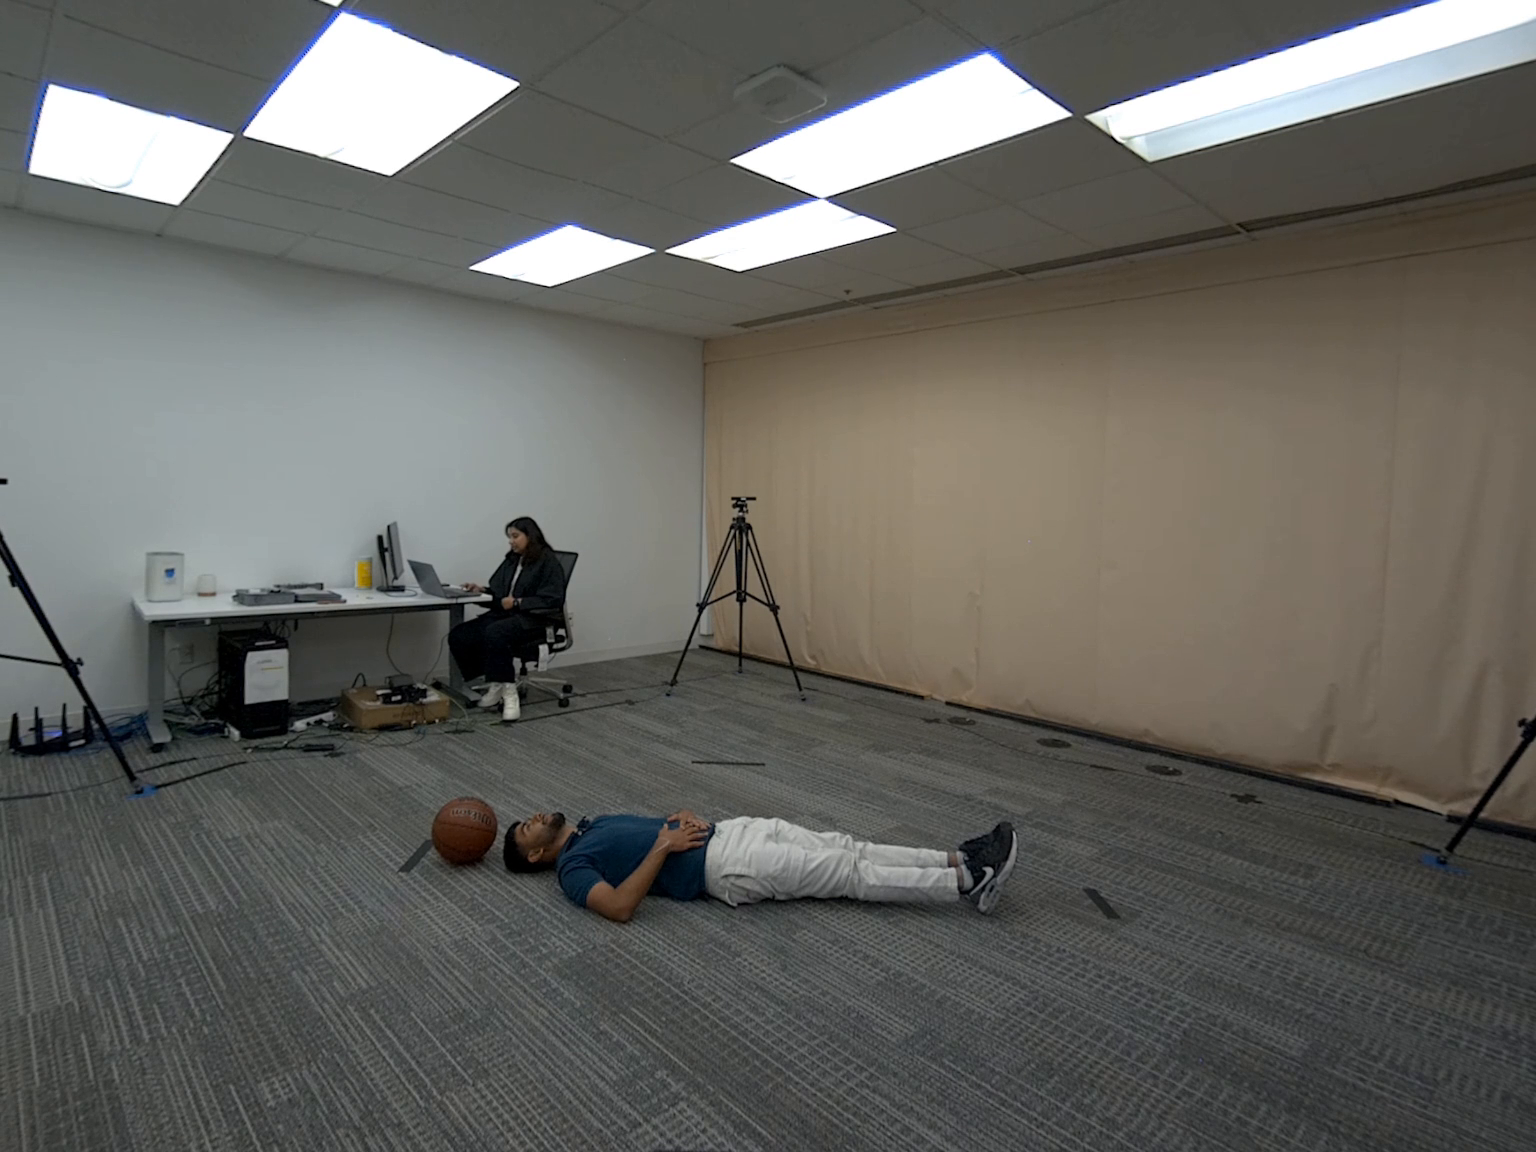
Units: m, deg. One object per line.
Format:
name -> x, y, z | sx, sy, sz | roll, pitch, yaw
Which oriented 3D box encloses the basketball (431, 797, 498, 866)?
basketball -> -1.155, 0.958, 3.178 | 0.236, 0.235, 0.237 | 1, 4, -1
